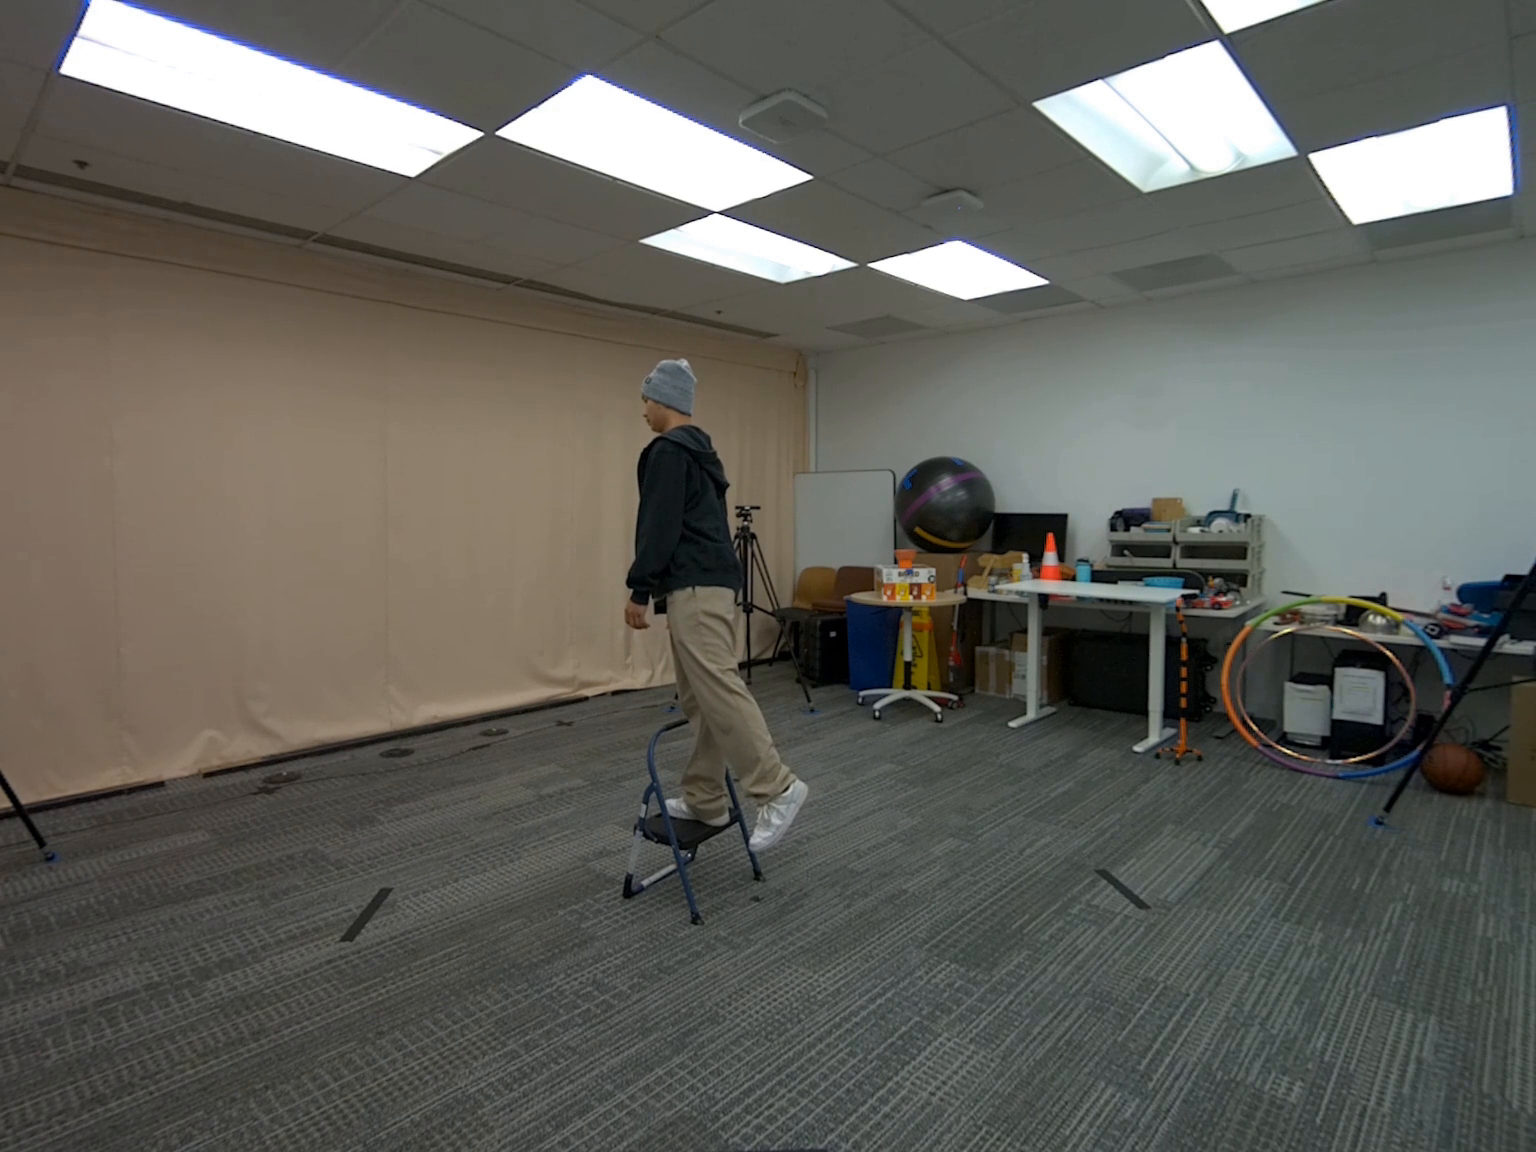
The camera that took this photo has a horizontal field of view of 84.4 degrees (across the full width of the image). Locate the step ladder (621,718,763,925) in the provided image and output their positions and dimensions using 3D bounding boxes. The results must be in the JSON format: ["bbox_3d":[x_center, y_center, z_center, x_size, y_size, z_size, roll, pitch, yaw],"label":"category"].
[{"bbox_3d":[-0.269,0.839,3.053,0.360,0.605,0.419,1,4,32],"label":"step ladder"}]
